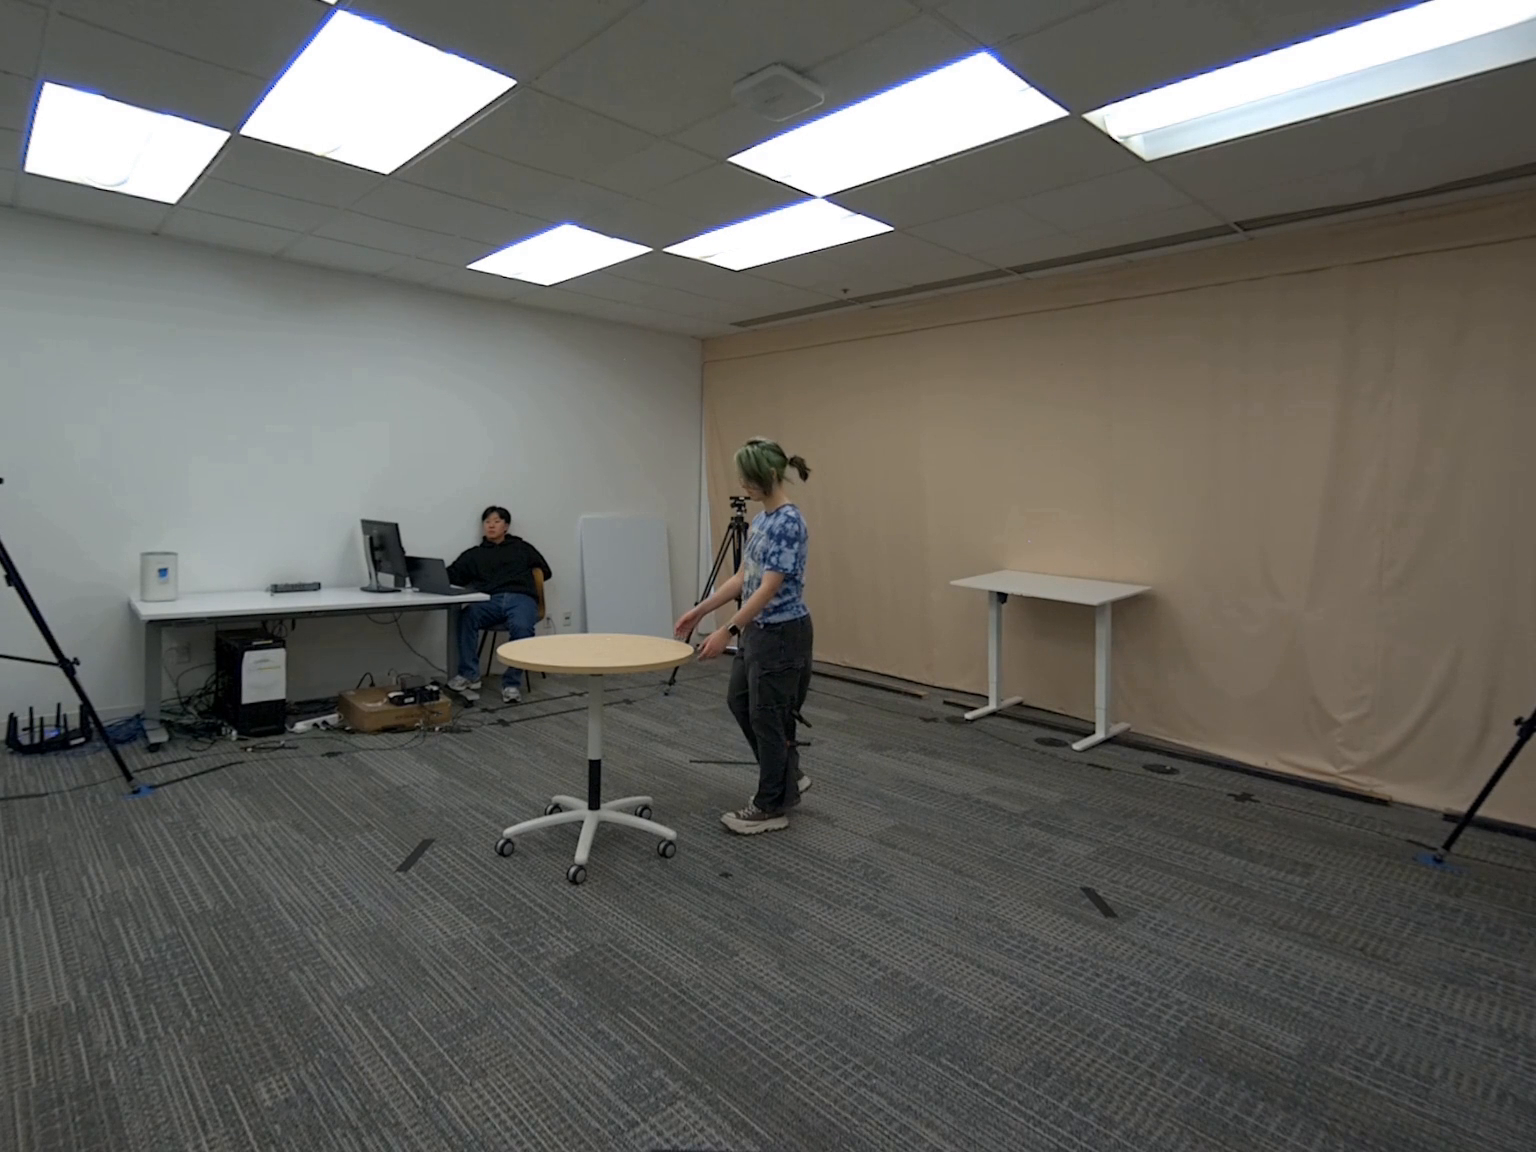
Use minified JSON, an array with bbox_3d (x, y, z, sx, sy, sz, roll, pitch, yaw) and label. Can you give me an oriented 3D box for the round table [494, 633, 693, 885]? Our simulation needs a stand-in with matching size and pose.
[{"bbox_3d":[-0.698,0.682,3.342,0.763,0.792,0.766,1,4,-1],"label":"round table"}]
